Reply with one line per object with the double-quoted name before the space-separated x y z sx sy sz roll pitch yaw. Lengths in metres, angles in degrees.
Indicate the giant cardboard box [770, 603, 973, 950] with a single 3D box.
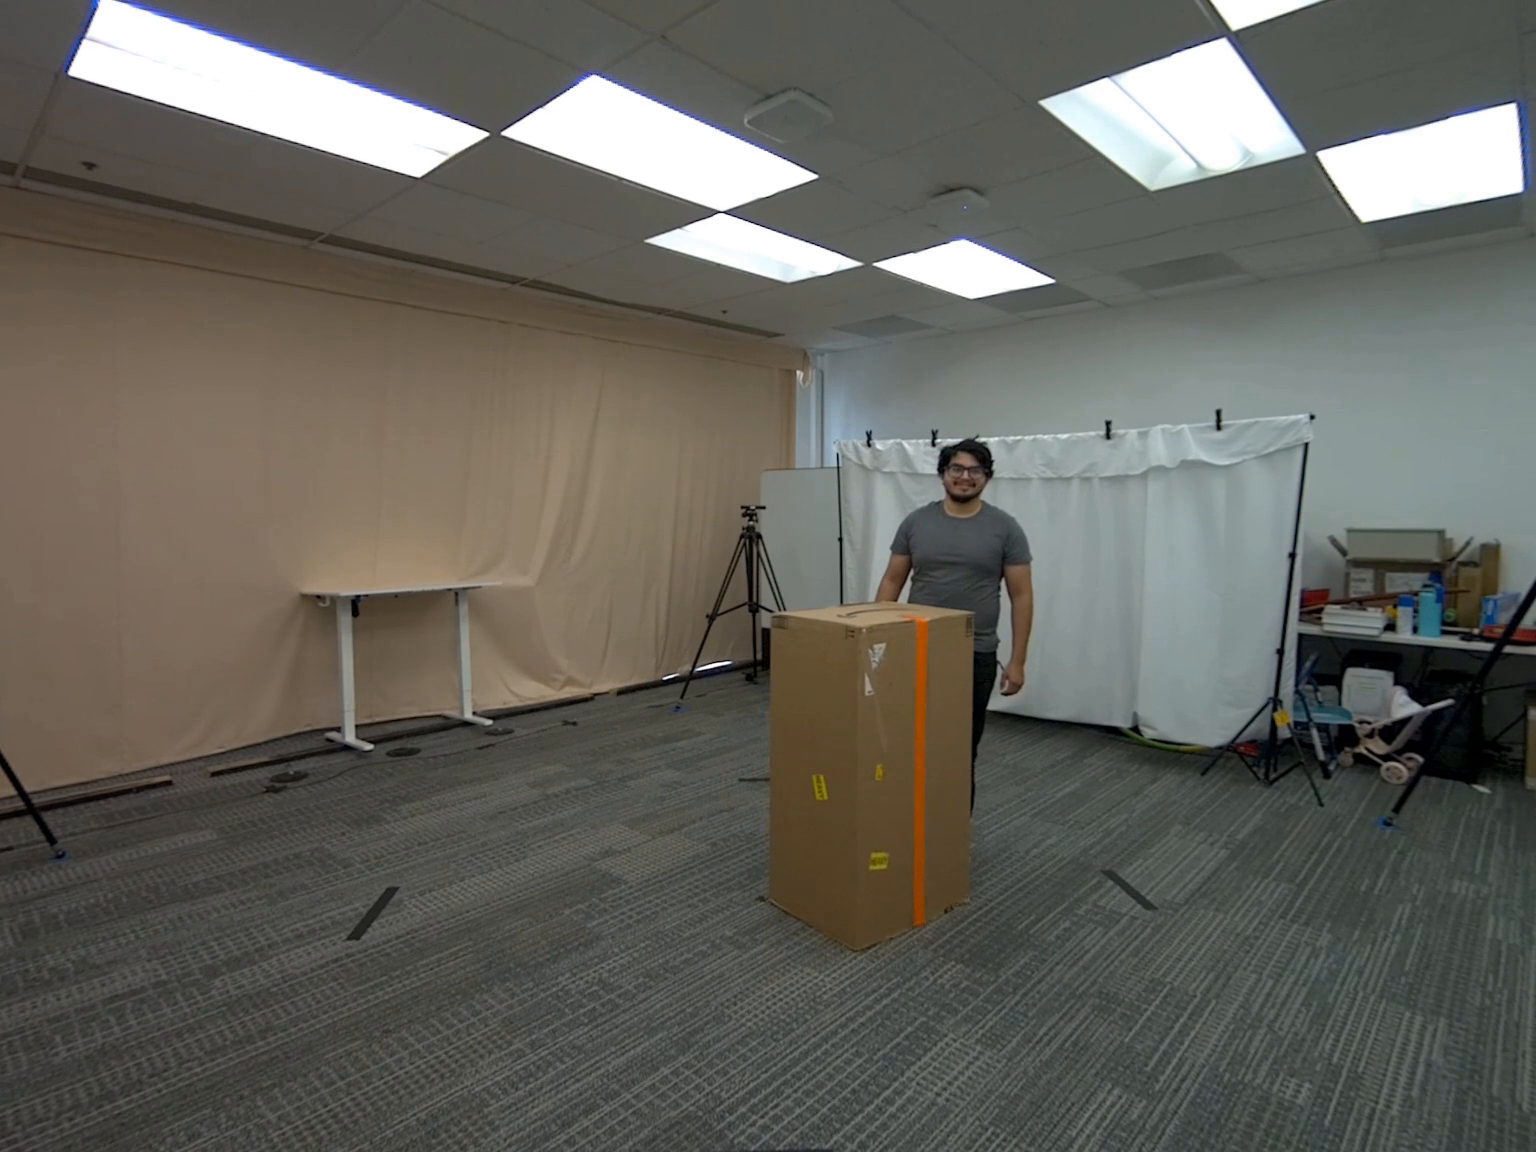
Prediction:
"giant cardboard box" 0.362 0.641 2.929 0.566 1.025 0.461 -2 3 -40
